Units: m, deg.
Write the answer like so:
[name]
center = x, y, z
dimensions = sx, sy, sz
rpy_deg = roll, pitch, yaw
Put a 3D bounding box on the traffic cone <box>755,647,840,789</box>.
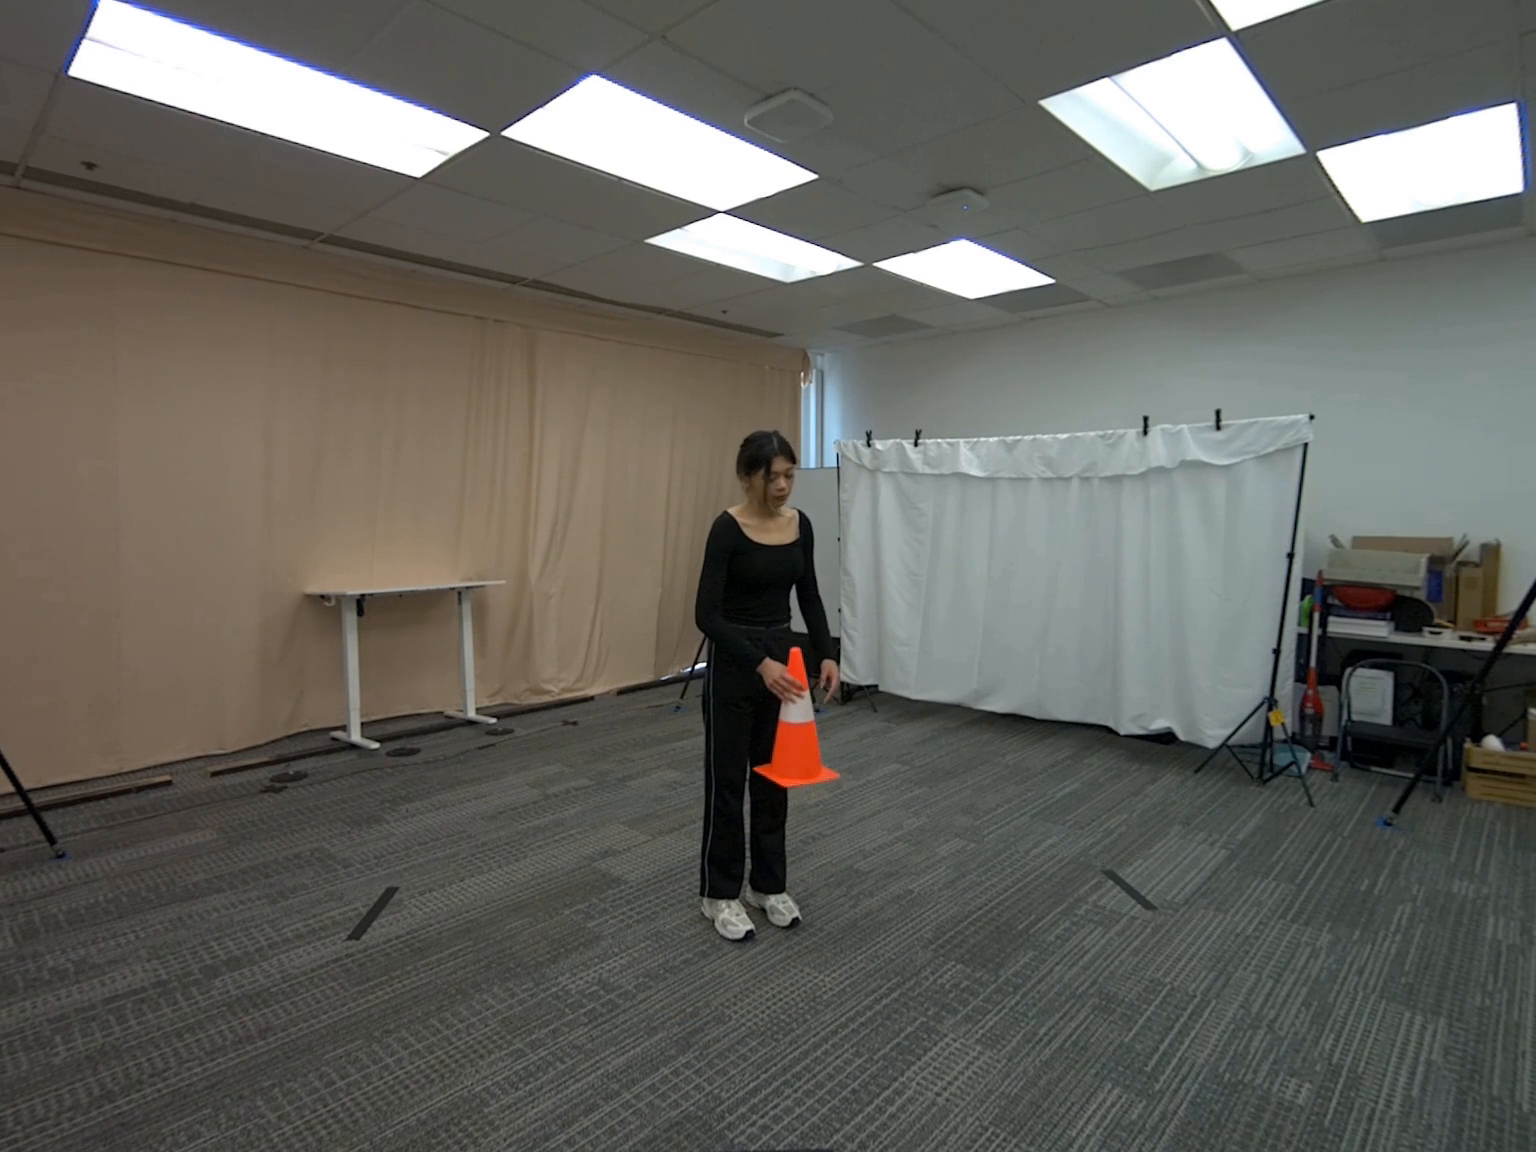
[traffic cone]
center = 0.076, 0.413, 2.541
dimensions = 0.200, 0.382, 0.208
rpy_deg = -5, 5, -24
